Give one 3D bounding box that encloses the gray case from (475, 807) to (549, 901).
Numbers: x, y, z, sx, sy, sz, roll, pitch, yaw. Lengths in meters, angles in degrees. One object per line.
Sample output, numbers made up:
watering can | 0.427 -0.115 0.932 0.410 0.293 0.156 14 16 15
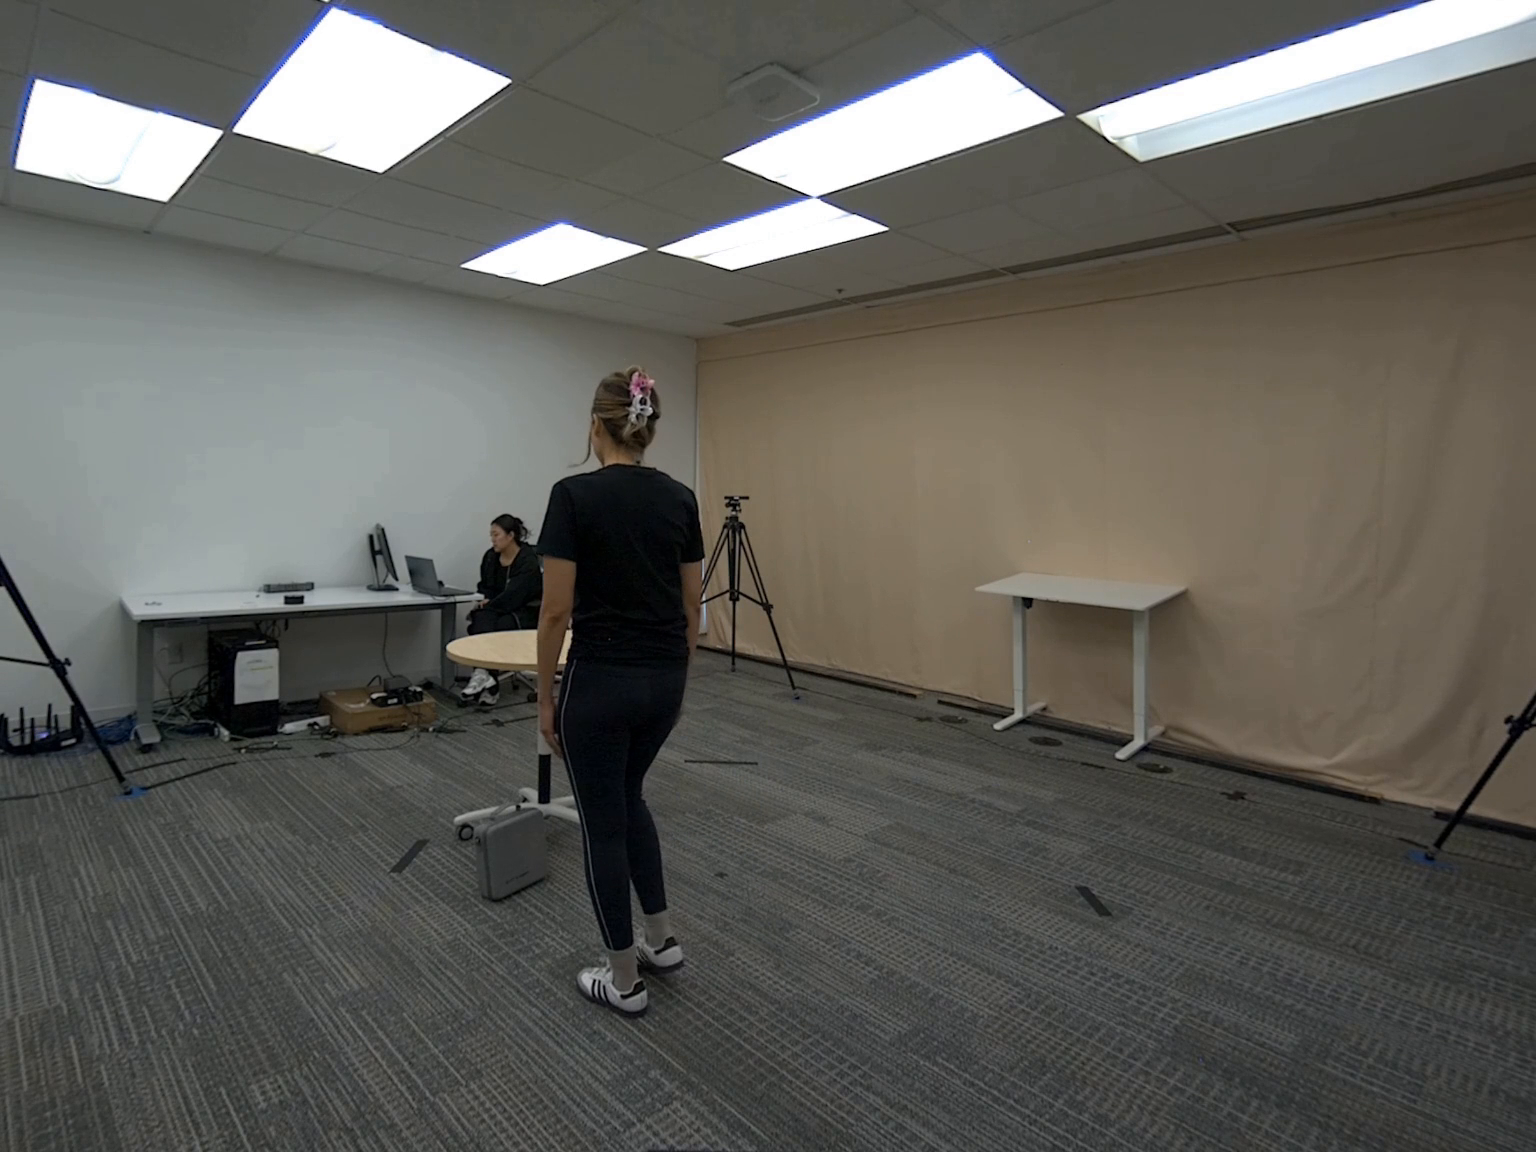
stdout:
gray case | -0.911 0.967 2.958 0.106 0.261 0.251 -4 0 34
